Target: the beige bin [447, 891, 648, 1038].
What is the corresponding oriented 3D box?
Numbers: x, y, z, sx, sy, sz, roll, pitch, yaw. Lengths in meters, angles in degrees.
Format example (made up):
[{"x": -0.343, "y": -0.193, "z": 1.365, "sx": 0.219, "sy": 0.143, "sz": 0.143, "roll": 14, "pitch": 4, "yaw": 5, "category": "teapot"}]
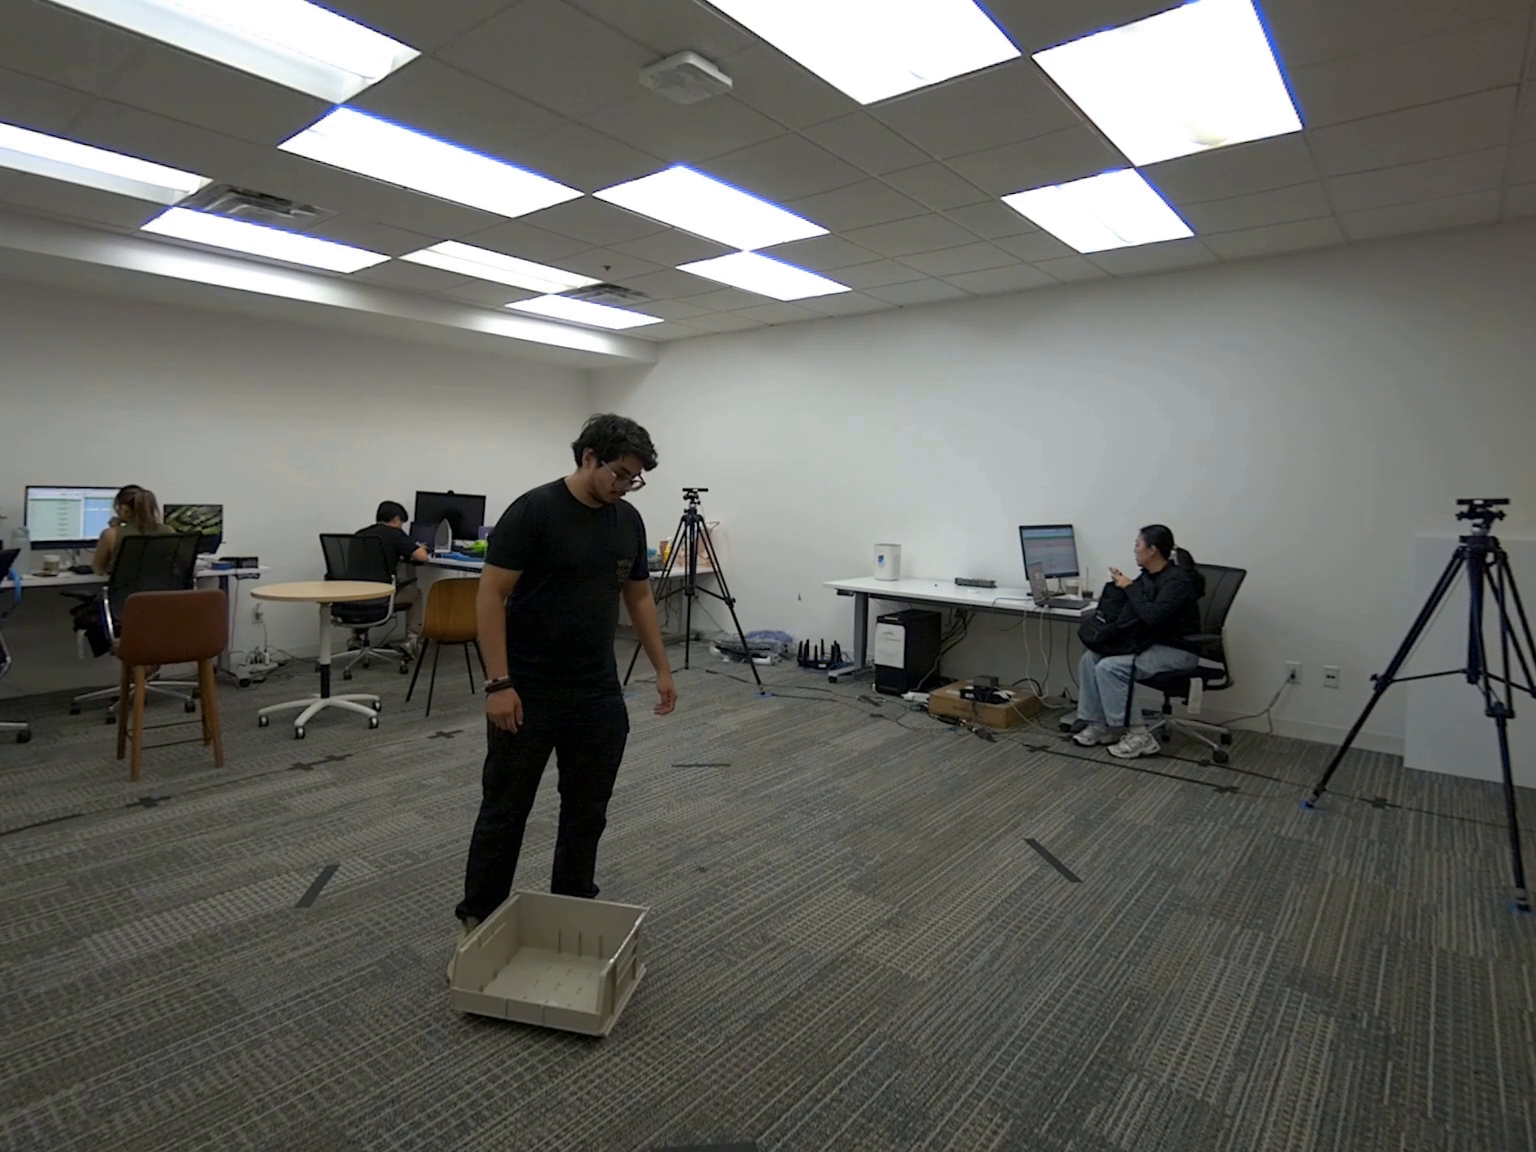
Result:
[{"x": -0.586, "y": 1.054, "z": 2.321, "sx": 0.428, "sy": 0.188, "sz": 0.373, "roll": 1, "pitch": 5, "yaw": 12, "category": "beige bin"}]
